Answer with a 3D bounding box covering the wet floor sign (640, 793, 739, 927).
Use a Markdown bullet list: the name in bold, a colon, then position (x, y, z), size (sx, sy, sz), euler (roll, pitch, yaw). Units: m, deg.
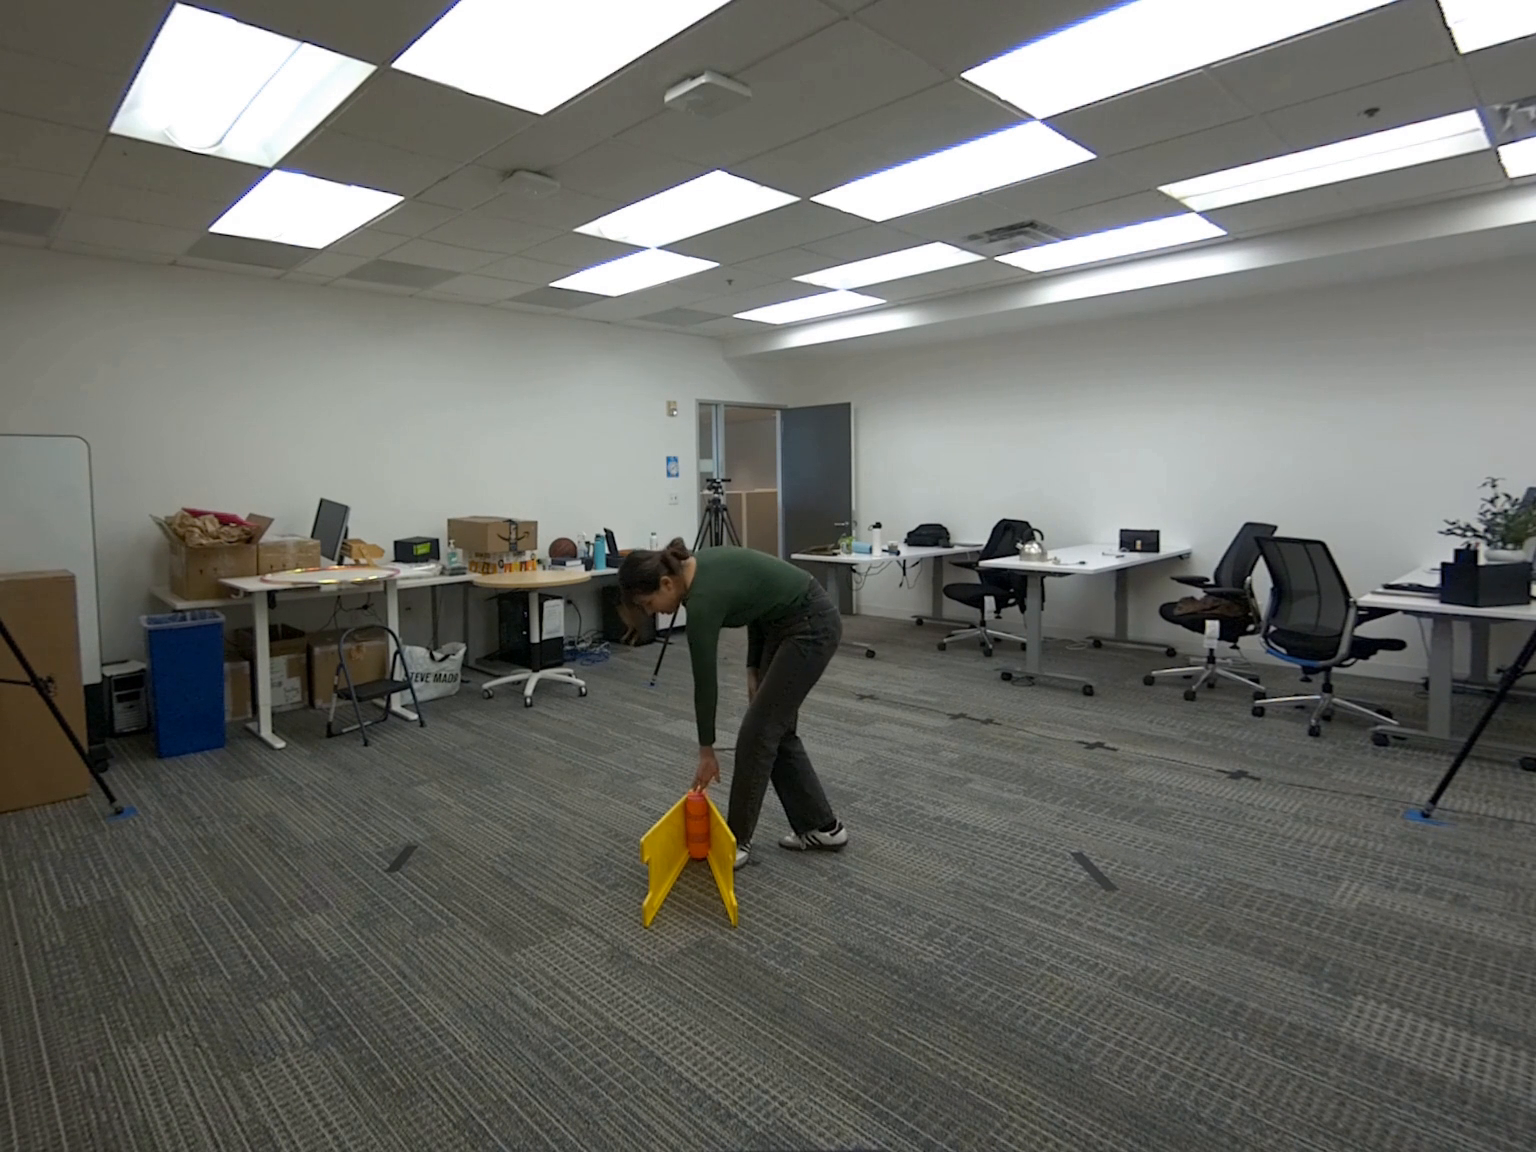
- **wet floor sign**: position (-0.258, 0.929, 2.987), size (0.289, 0.281, 0.648), euler (-1, 4, -2)
